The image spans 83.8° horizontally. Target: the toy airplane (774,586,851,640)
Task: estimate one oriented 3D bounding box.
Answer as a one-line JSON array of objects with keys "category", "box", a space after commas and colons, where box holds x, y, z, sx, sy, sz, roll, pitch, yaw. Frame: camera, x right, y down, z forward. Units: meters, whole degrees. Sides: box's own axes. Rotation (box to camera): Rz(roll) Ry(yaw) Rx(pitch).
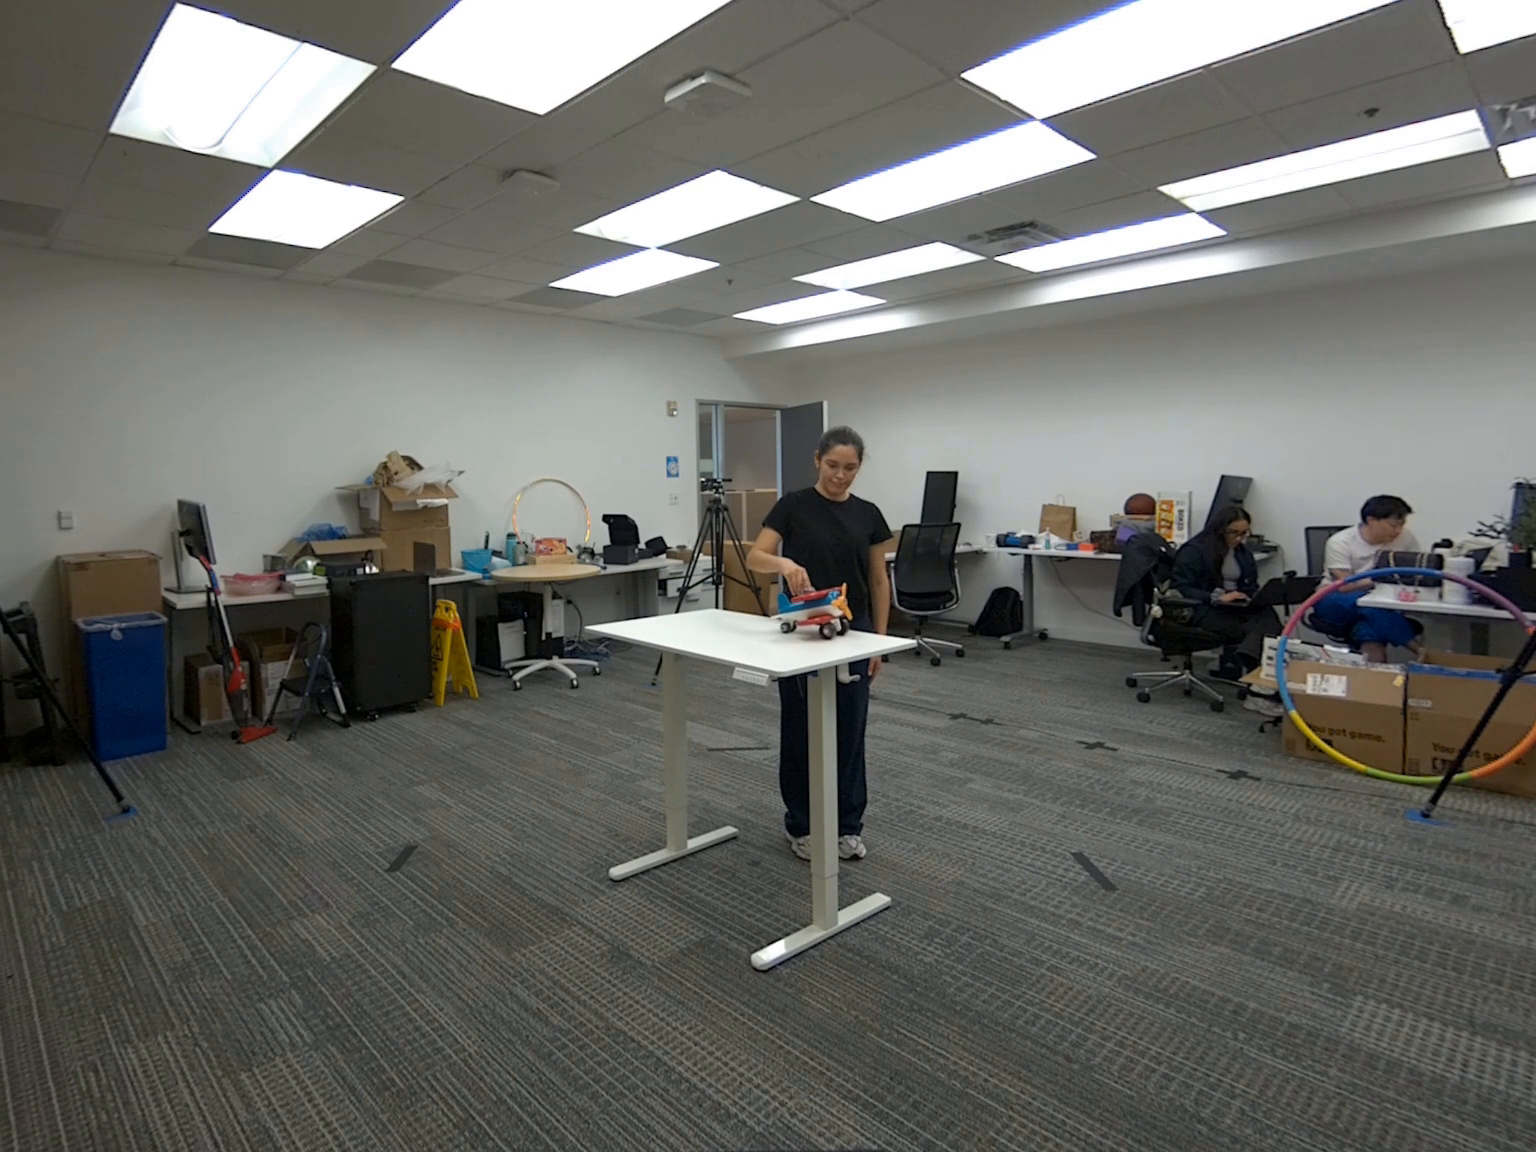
[{"category": "toy airplane", "box": [0.136, 0.120, 2.795, 0.261, 0.156, 0.250, 0, 6, 8]}]
